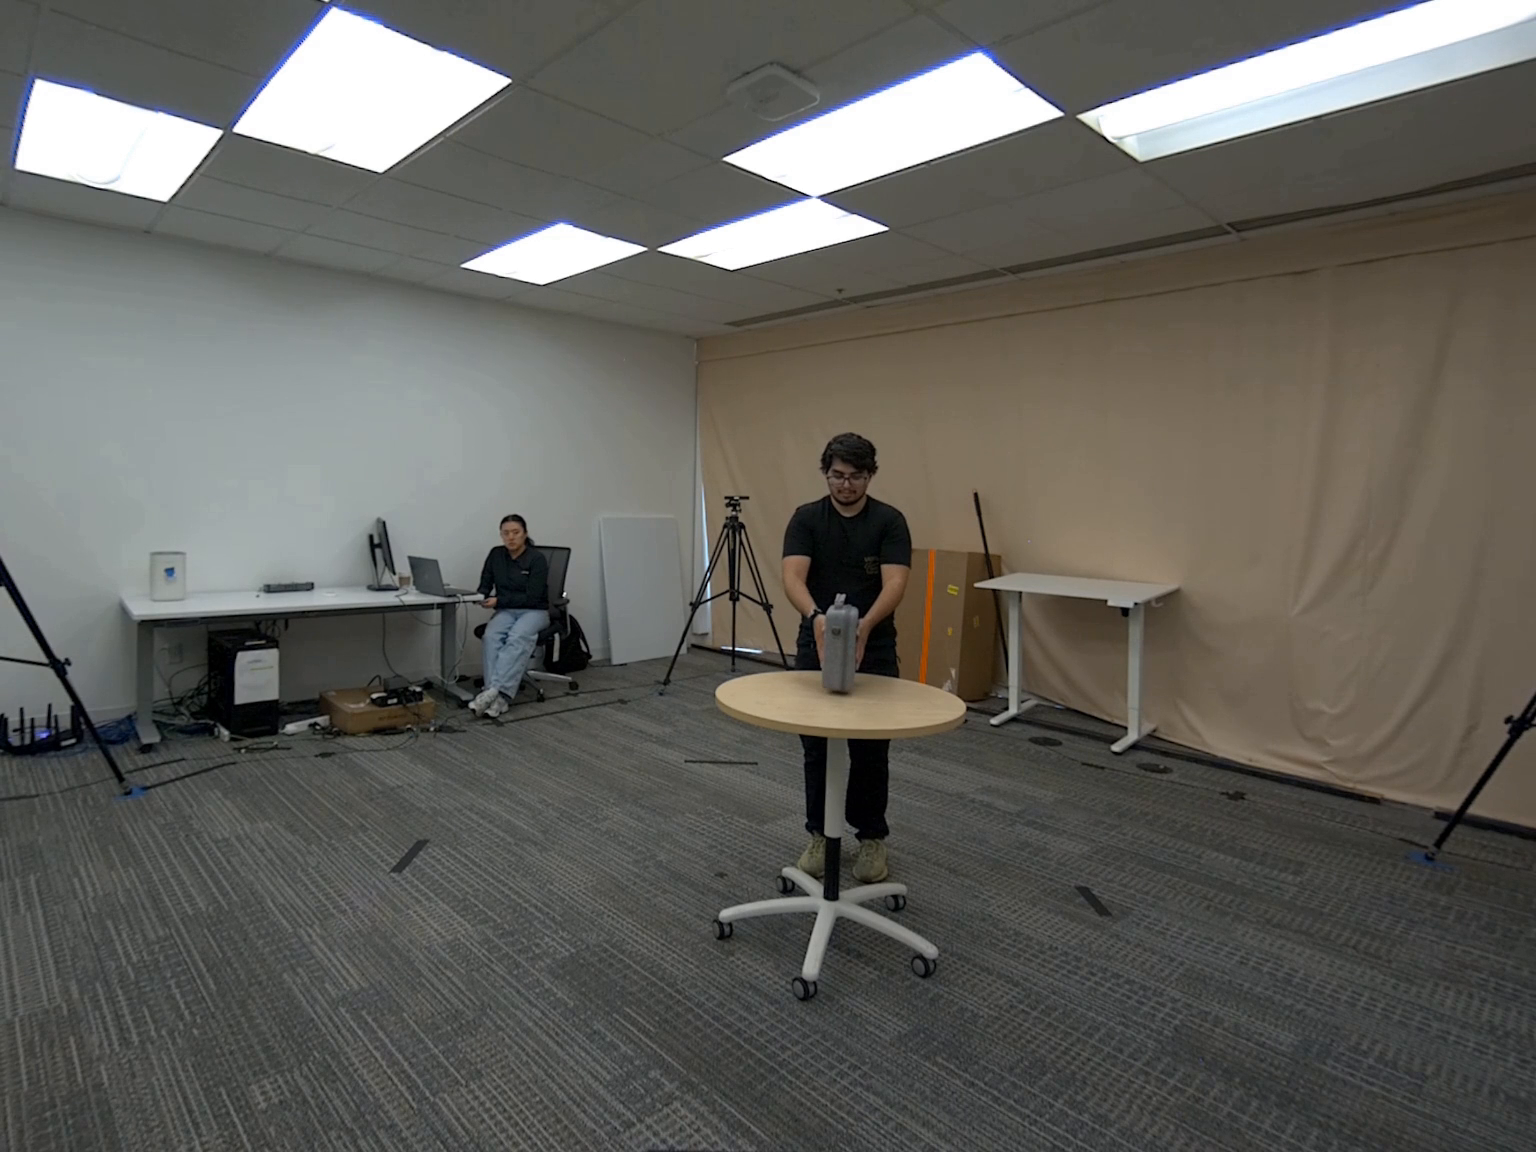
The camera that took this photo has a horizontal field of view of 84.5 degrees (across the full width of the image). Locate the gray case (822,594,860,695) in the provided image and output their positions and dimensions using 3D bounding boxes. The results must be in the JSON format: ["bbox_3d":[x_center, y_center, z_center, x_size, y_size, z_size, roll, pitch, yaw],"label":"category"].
[{"bbox_3d":[0.215,0.222,2.712,0.105,0.260,0.256,4,2,5],"label":"gray case"}]
